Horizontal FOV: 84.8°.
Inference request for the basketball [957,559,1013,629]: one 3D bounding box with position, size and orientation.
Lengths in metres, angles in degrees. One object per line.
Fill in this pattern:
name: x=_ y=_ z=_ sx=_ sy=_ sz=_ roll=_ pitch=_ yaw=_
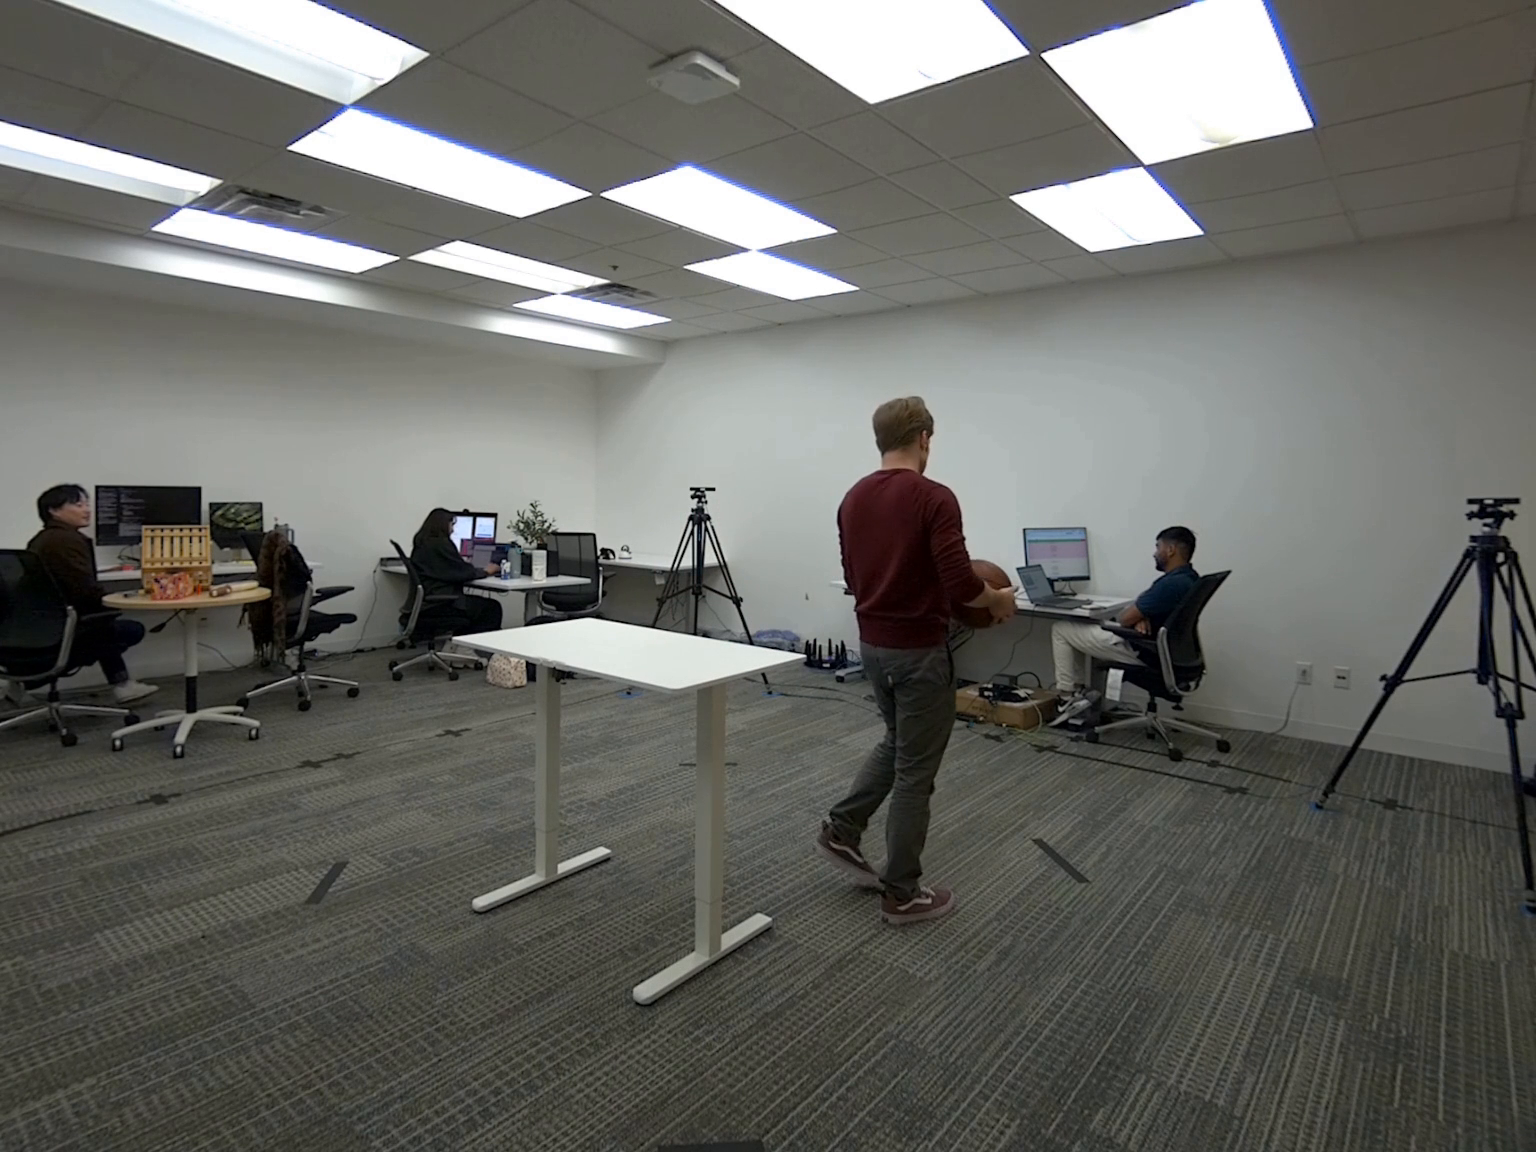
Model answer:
basketball: x=0.700 y=0.061 z=2.930 sx=0.235 sy=0.235 sz=0.237 roll=1 pitch=4 yaw=-2
